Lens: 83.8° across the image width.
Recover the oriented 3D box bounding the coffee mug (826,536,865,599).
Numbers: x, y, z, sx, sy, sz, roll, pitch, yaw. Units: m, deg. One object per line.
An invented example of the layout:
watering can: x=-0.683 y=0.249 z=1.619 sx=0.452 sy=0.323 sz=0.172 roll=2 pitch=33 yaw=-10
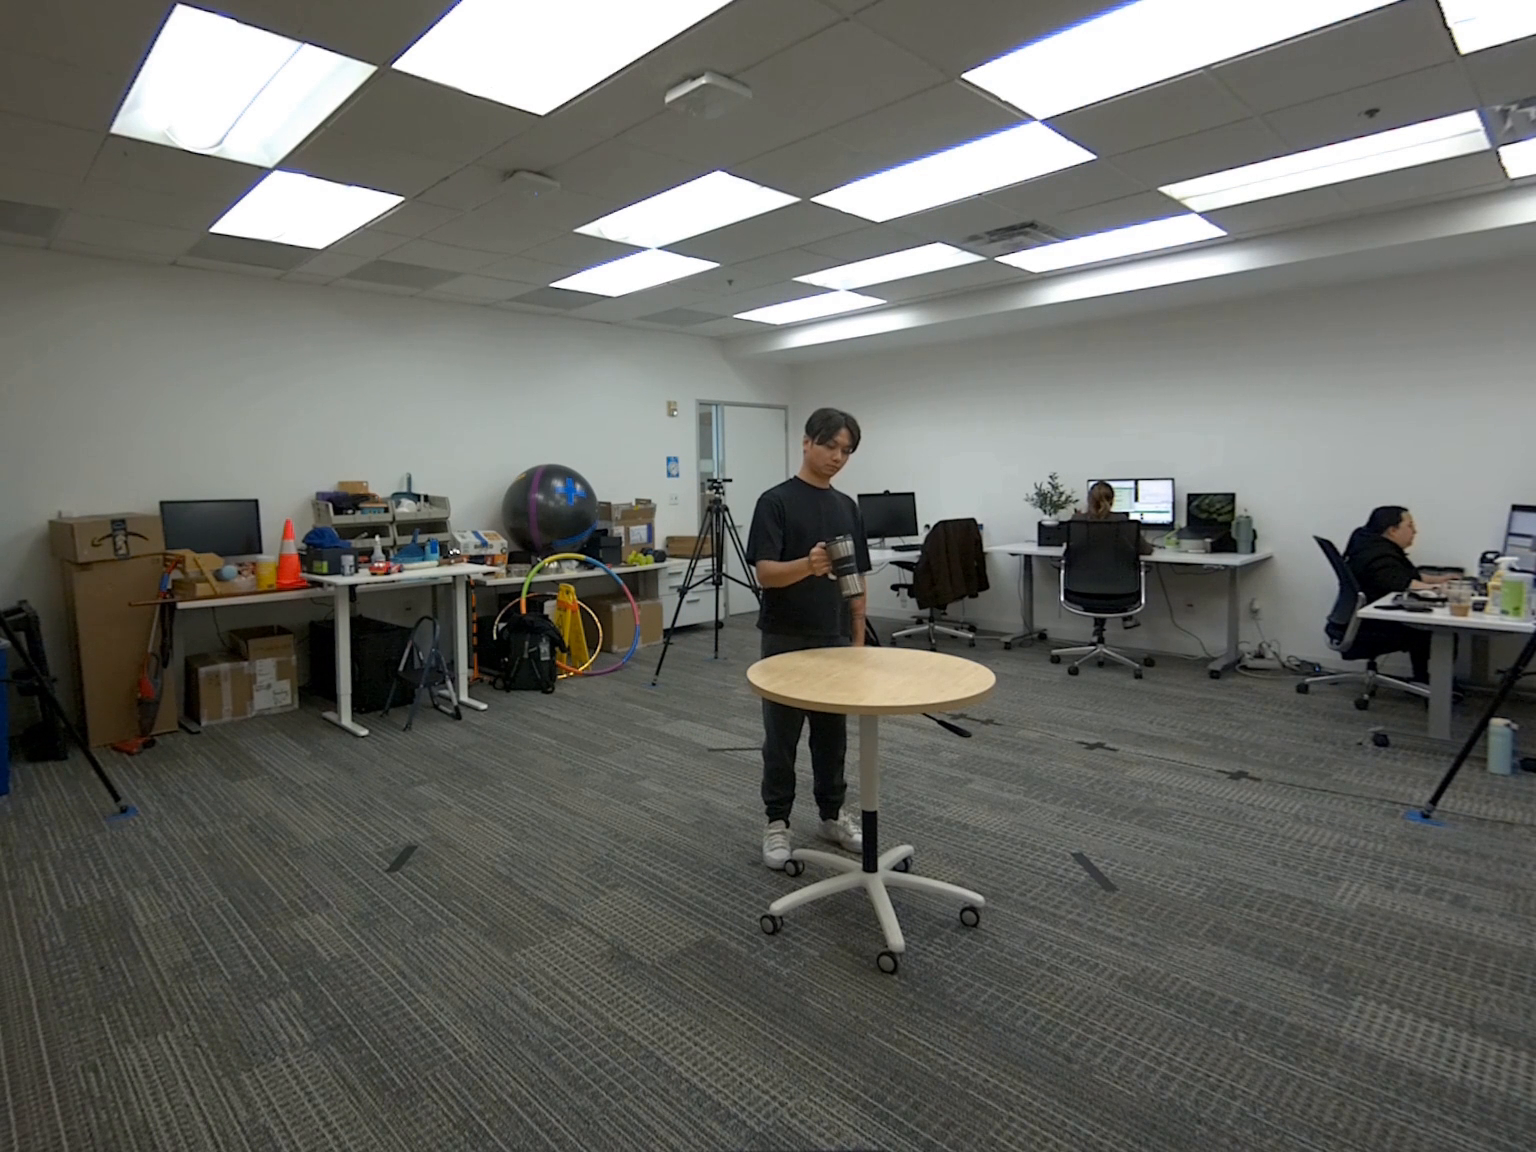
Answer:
coffee mug: x=0.235 y=-0.024 z=2.745 sx=0.086 sy=0.204 sz=0.124 roll=-11 pitch=-4 yaw=-28
